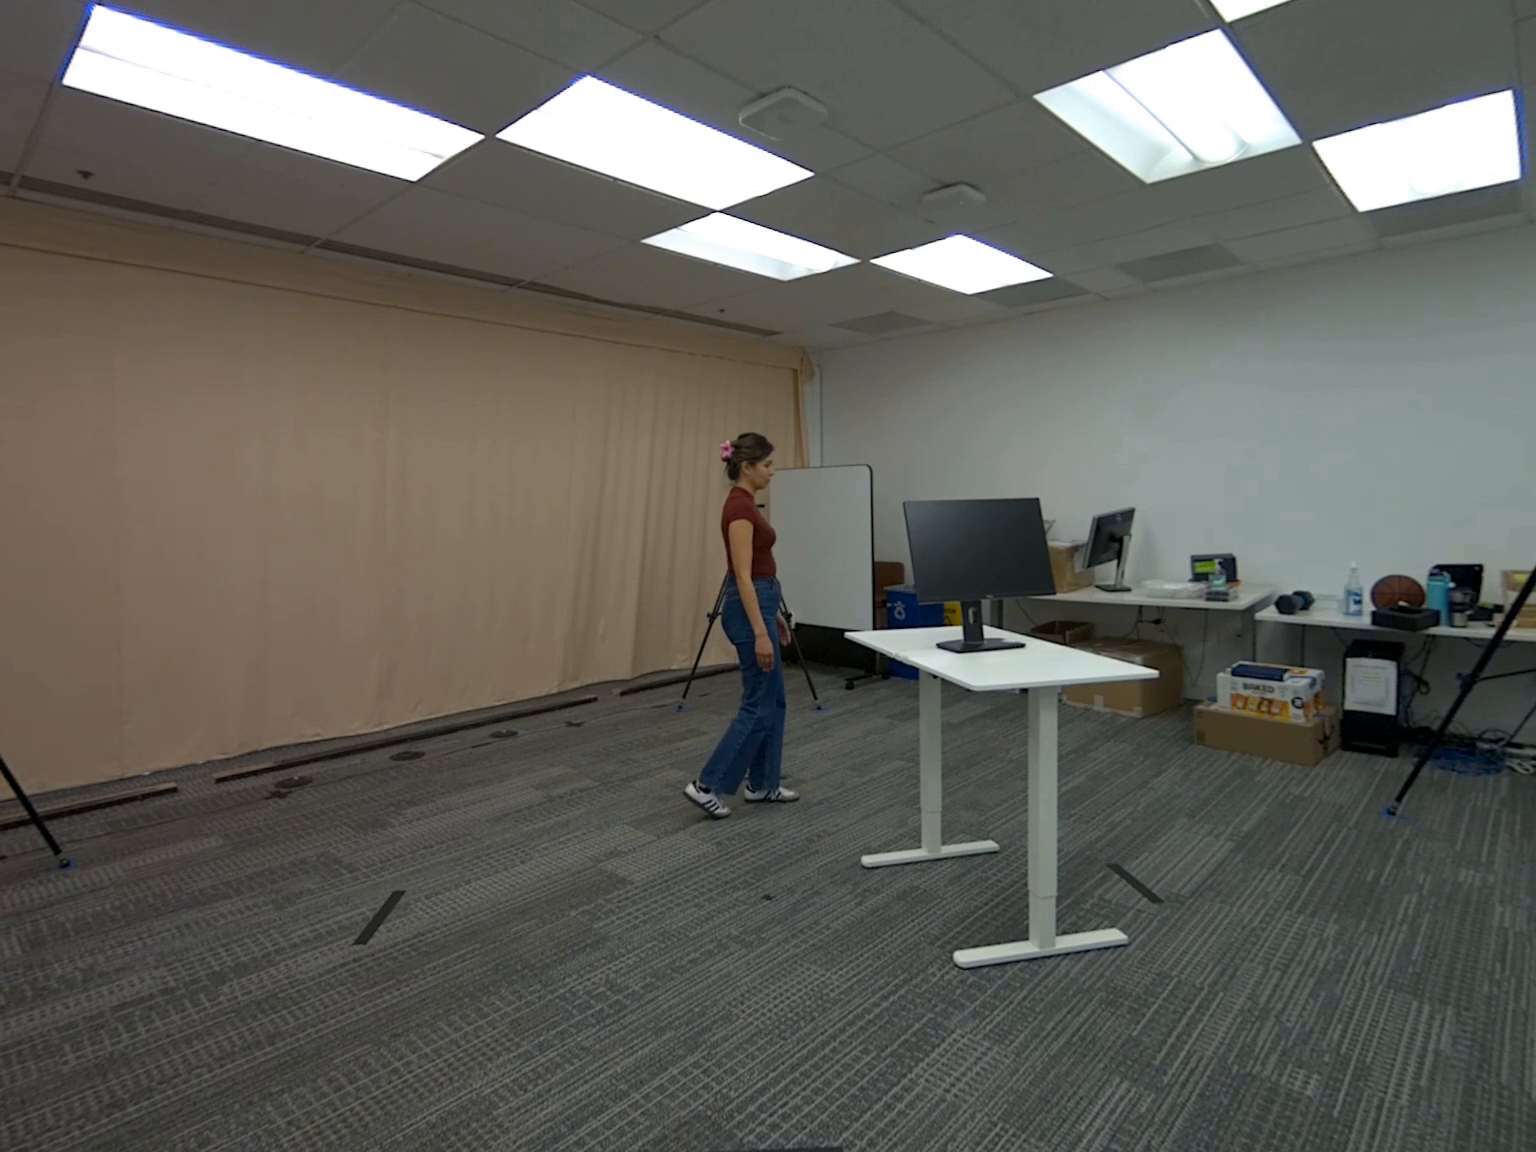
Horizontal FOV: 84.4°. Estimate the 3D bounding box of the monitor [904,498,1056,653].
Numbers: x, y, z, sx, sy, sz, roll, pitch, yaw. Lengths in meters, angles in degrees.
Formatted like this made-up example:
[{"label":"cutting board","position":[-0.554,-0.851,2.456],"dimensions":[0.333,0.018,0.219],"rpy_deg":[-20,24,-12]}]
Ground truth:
[{"label":"monitor","position":[0.735,-0.005,2.937],"dimensions":[0.529,0.522,0.190],"rpy_deg":[-3,2,-18]}]
